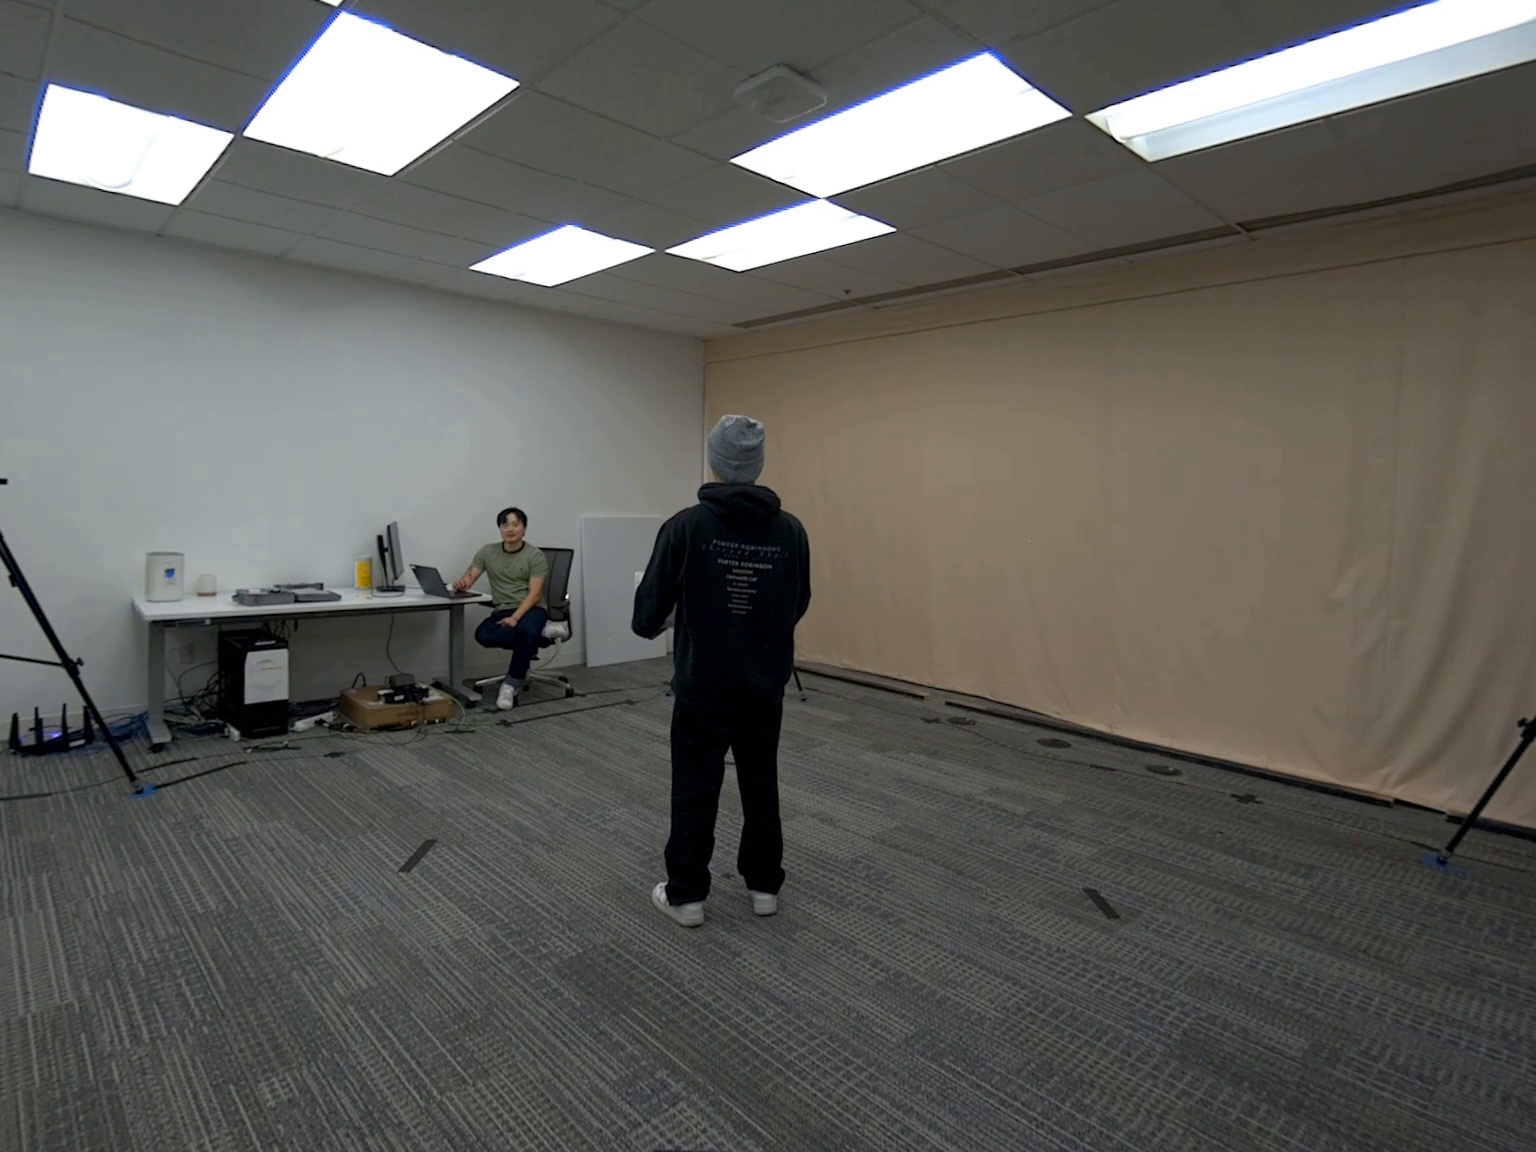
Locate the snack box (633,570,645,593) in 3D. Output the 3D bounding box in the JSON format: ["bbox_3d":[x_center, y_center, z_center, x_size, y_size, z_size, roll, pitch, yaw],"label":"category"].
[{"bbox_3d":[-0.271,0.094,3.199,0.398,0.206,0.345,1,-1,-22],"label":"snack box"}]
